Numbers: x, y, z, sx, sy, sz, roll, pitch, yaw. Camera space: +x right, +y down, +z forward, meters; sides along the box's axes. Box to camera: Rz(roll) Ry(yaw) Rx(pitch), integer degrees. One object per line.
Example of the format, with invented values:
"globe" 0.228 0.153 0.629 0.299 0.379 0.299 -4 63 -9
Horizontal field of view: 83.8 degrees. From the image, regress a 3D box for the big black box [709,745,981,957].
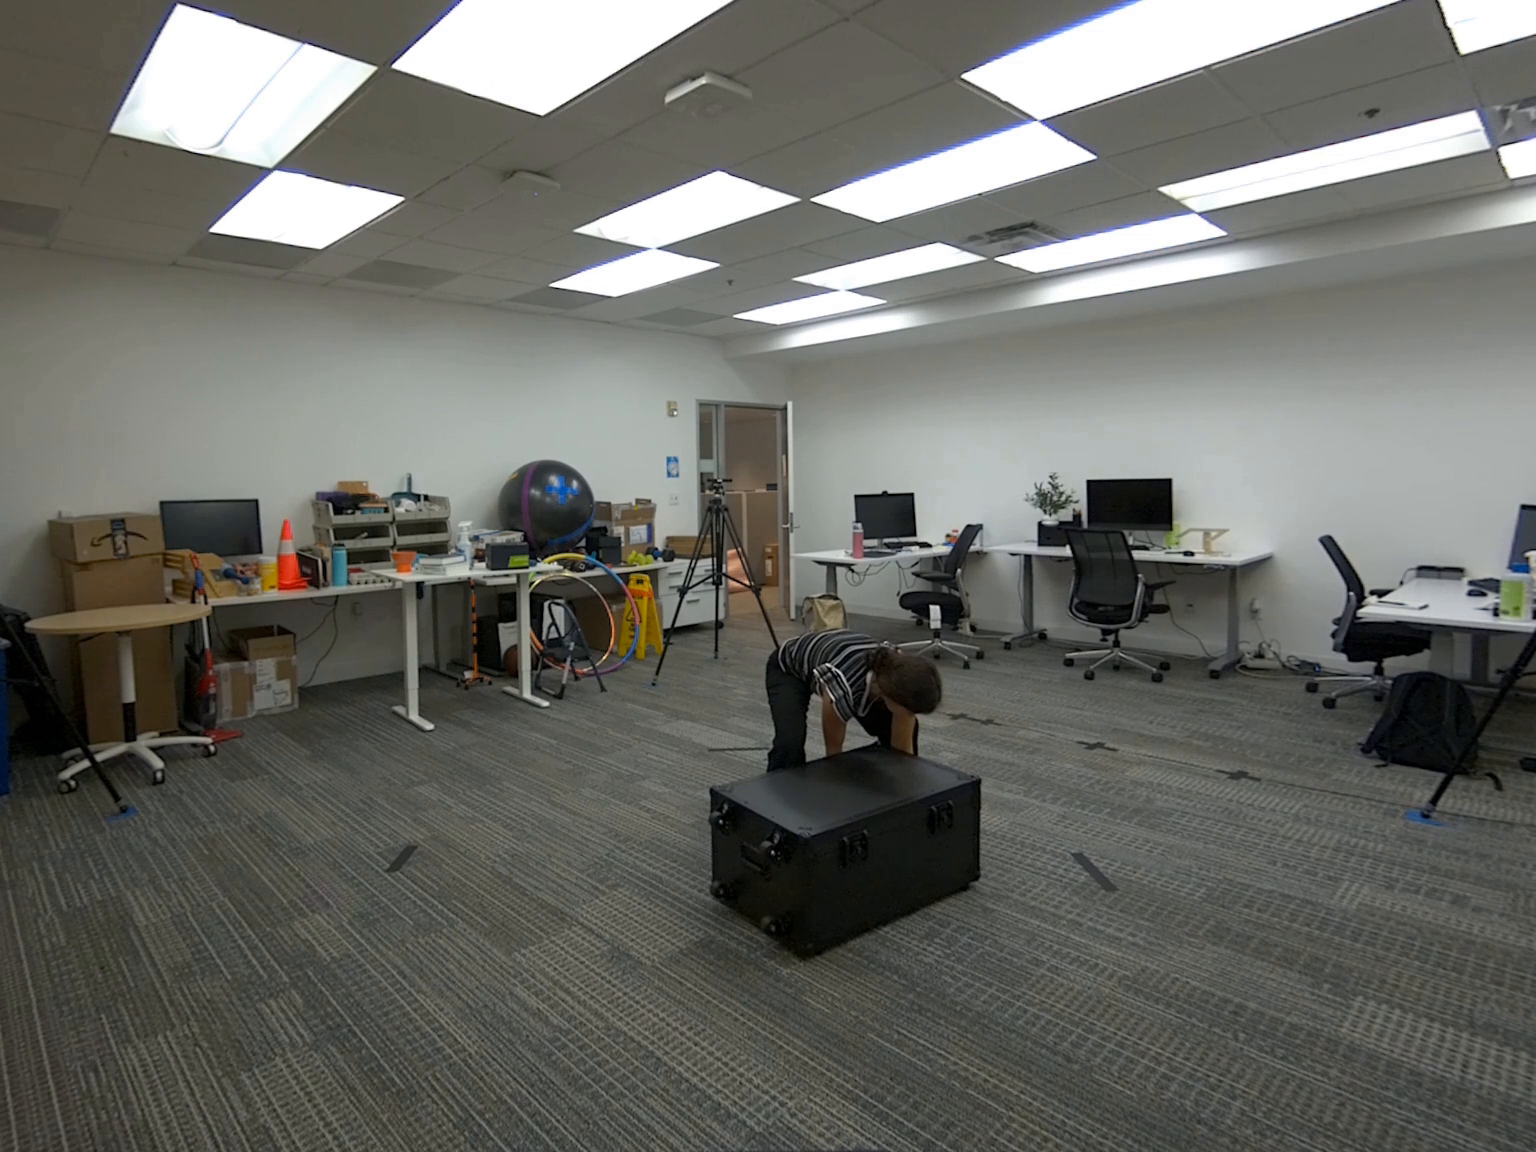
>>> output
"big black box" 0.235 0.882 2.837 0.839 0.395 0.537 -4 6 -36
